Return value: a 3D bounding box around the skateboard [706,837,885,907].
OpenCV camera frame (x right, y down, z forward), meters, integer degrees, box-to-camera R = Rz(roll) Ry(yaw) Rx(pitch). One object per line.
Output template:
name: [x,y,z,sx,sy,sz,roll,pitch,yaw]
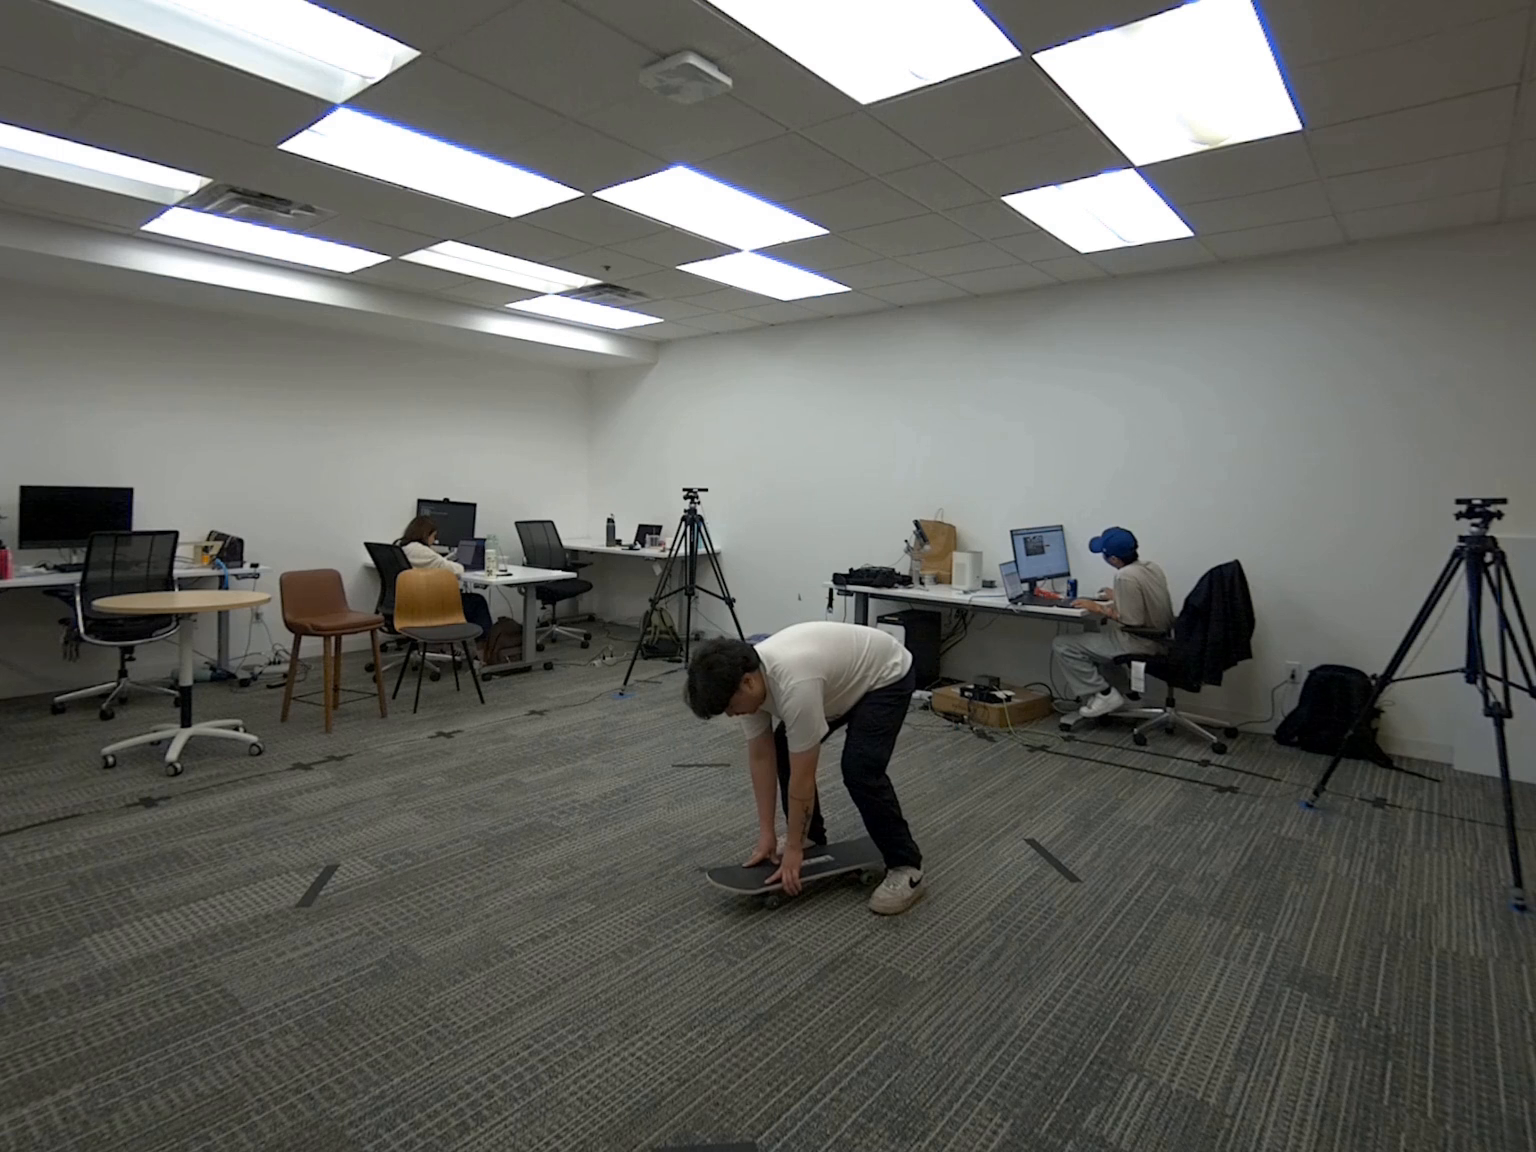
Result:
skateboard: [0.133,1.039,2.992,0.765,0.110,0.199,-1,6,-29]
